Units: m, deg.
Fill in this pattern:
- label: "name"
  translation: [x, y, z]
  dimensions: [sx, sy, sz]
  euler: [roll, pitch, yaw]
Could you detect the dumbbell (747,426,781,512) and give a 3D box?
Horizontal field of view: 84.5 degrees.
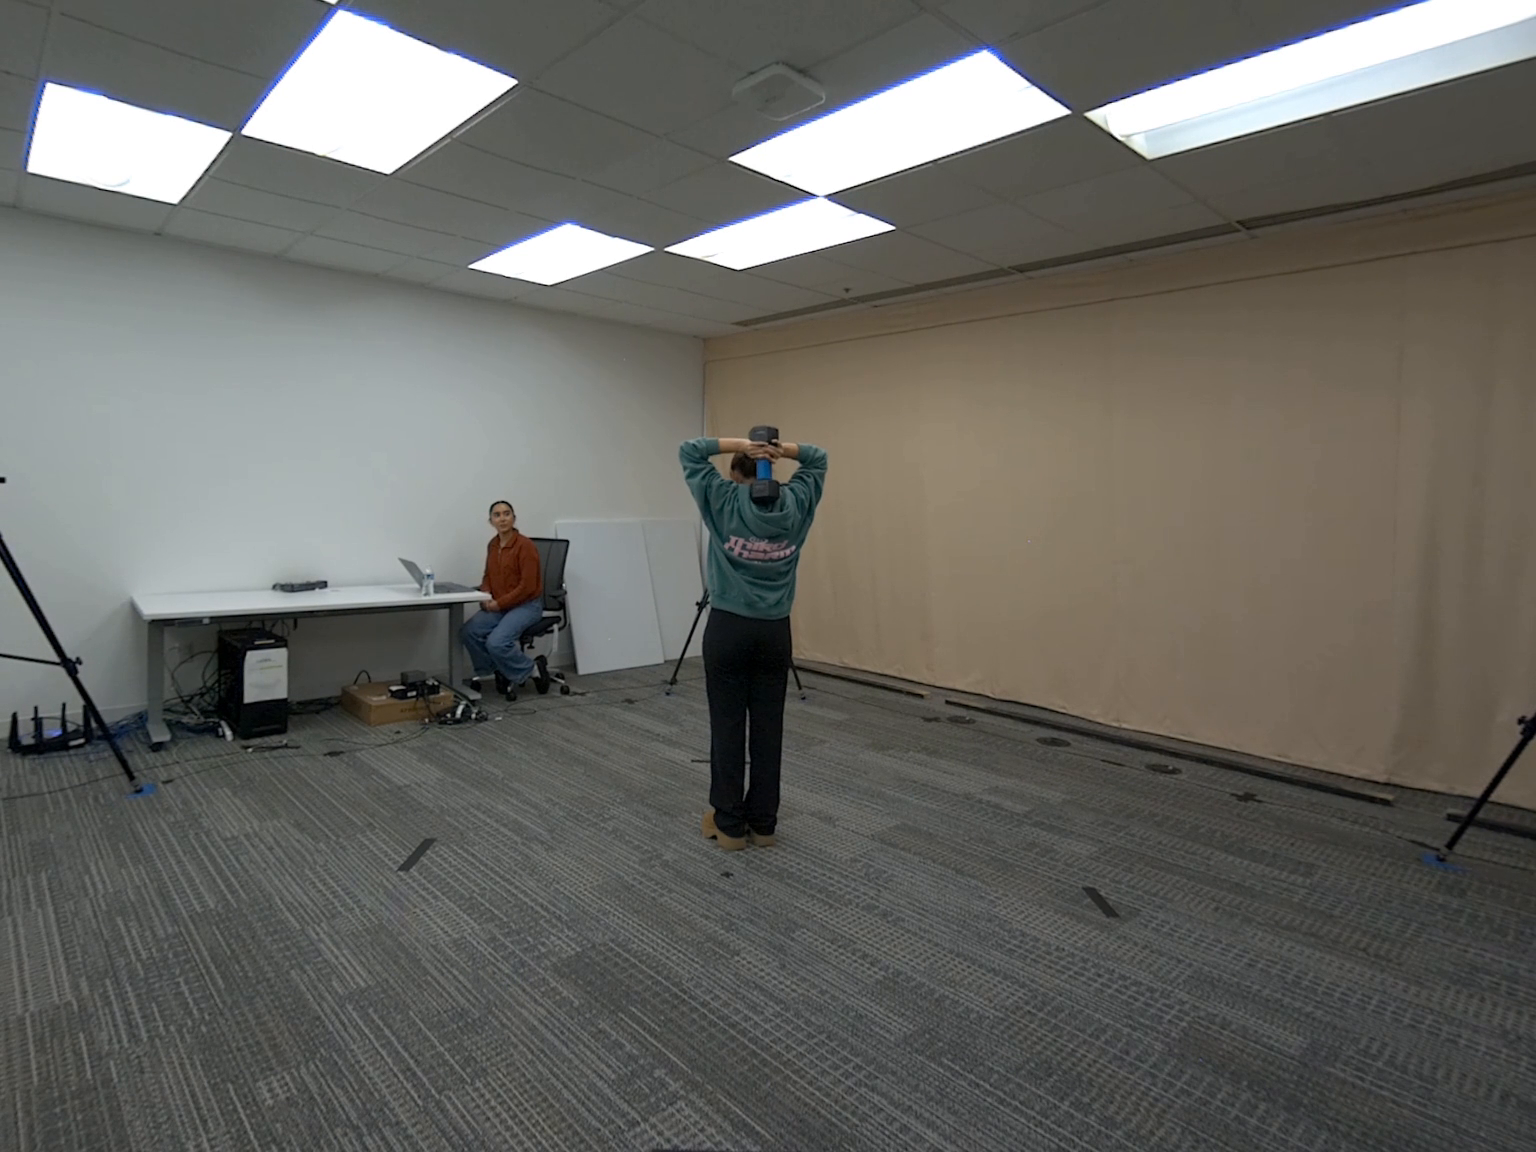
- label: "dumbbell"
  translation: [-0.024, -0.434, 3.270]
  dimensions: [0.107, 0.296, 0.124]
  euler: [3, -12, -21]
